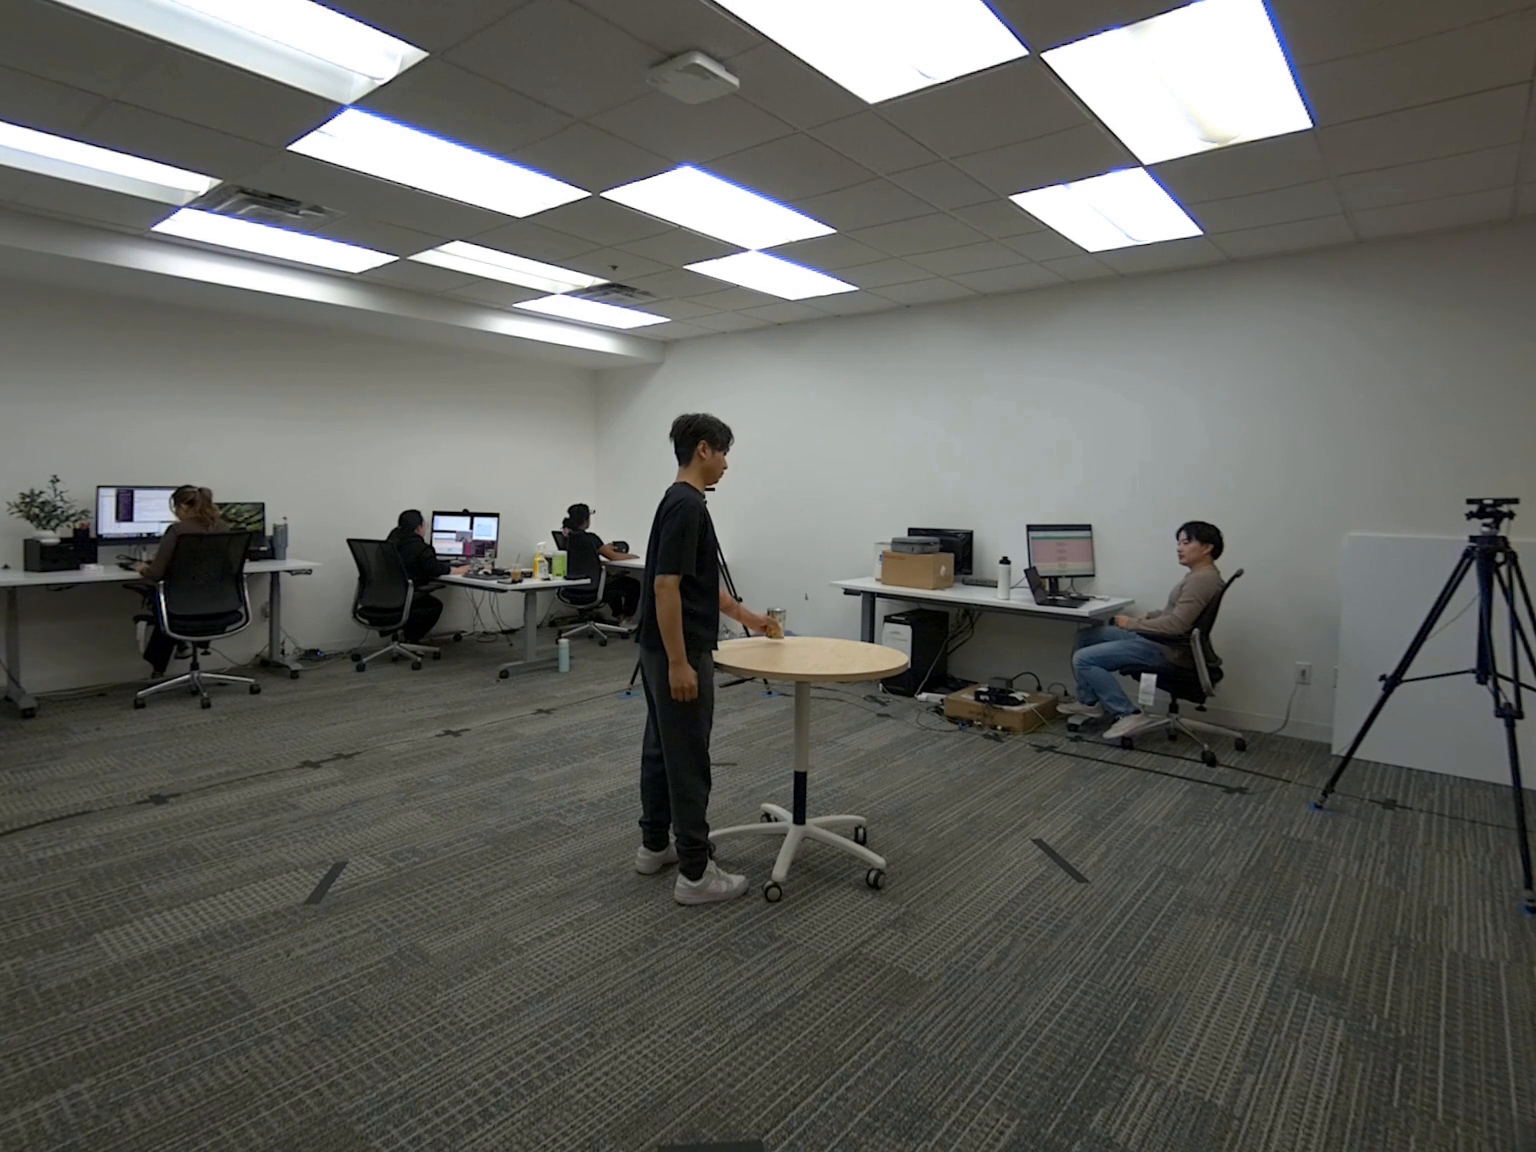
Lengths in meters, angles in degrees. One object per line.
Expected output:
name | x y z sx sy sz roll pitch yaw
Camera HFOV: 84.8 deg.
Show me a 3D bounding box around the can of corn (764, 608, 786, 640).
can of corn | 0.023 0.182 3.363 0.074 0.111 0.074 2 4 -2
